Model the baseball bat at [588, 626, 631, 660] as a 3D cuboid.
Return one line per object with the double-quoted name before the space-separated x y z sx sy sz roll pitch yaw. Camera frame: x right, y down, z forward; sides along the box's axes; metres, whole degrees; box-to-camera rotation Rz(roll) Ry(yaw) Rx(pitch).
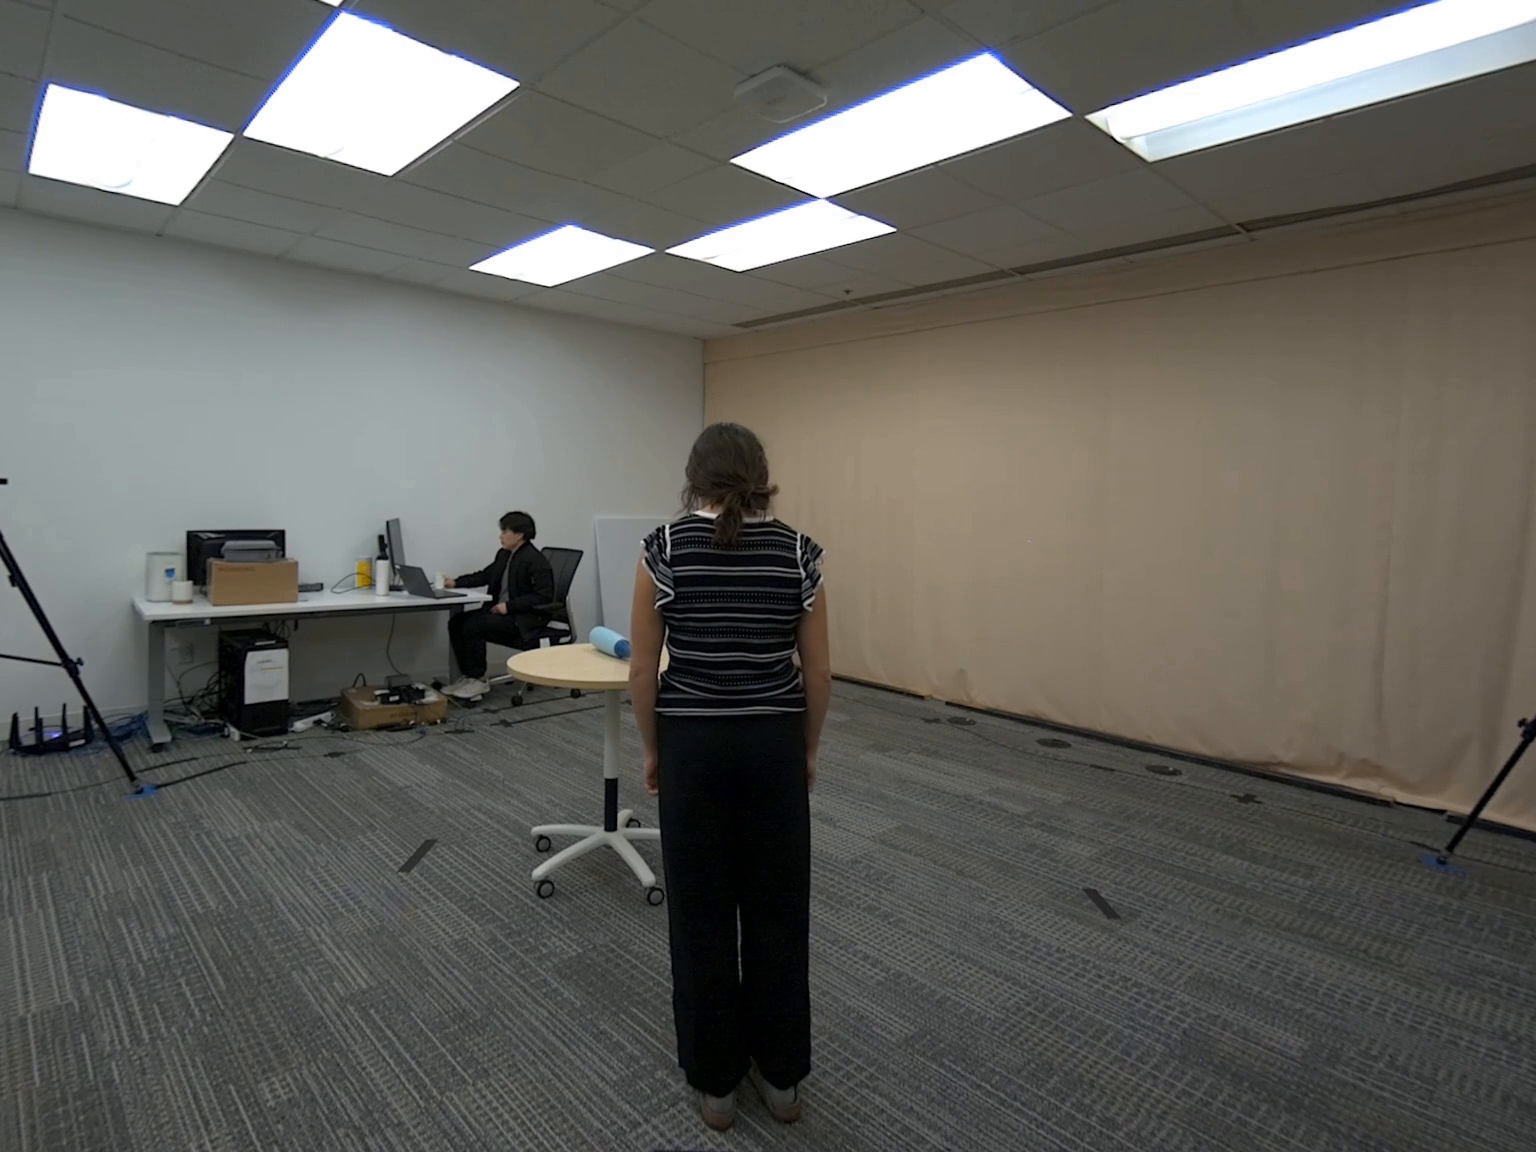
"baseball bat" -0.544 0.279 3.132 0.087 0.089 0.556 -1 8 -31
